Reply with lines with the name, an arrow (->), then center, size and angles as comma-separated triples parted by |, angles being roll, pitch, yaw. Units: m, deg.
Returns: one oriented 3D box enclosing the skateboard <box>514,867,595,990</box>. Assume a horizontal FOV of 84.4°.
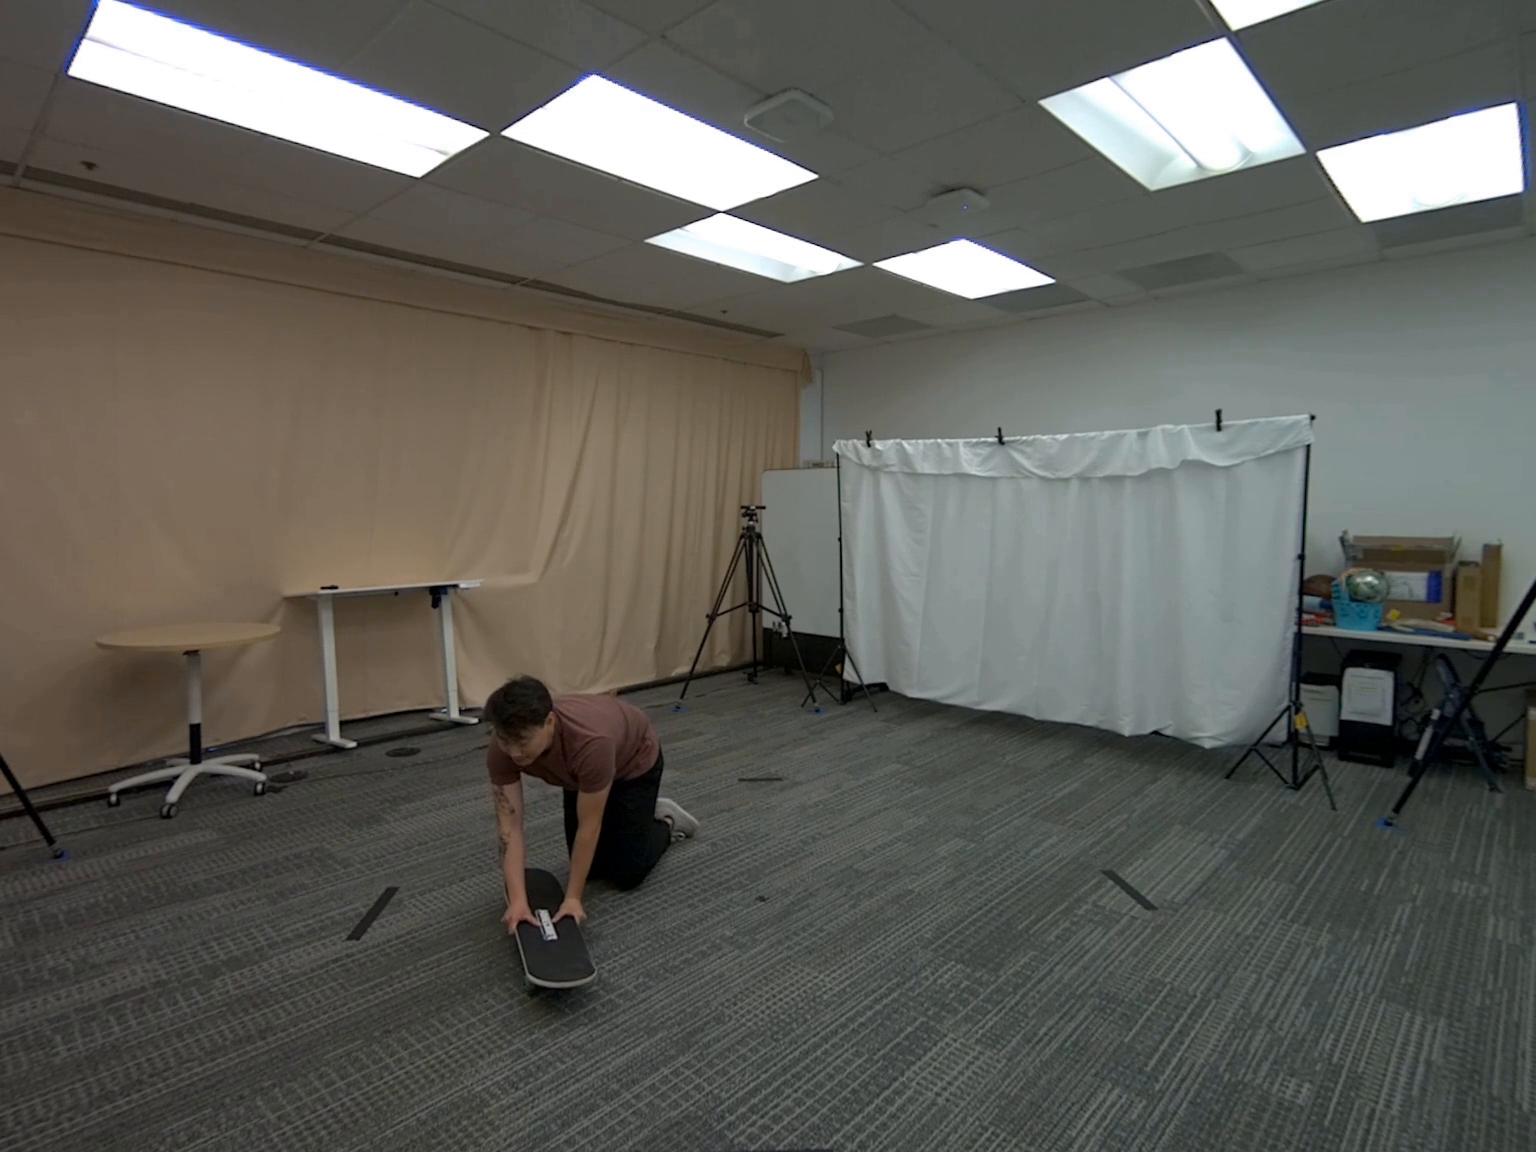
skateboard -> -0.688, 1.116, 2.636 | 0.189, 0.110, 0.803 | 3, 3, -22
